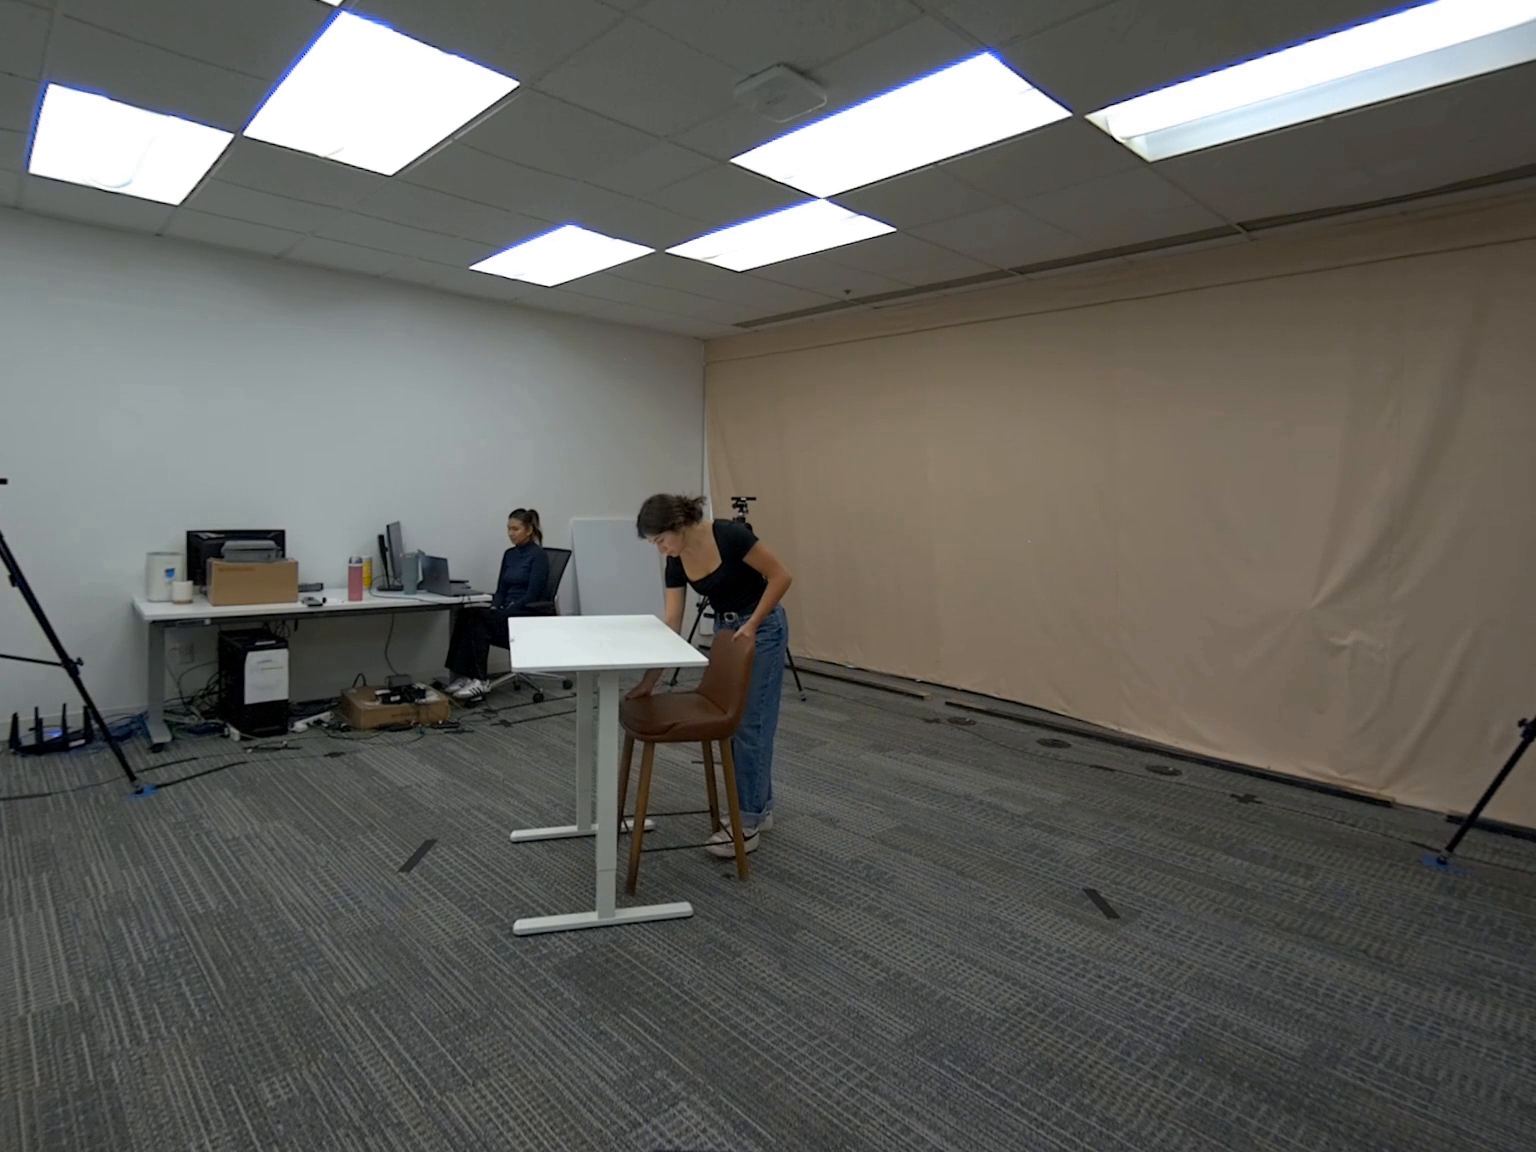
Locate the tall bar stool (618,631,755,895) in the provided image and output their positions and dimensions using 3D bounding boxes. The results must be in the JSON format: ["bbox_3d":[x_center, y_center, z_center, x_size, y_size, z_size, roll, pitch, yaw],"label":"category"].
[{"bbox_3d":[-0.330,0.664,3.153,0.461,0.888,0.464,3,3,-17],"label":"tall bar stool"}]
